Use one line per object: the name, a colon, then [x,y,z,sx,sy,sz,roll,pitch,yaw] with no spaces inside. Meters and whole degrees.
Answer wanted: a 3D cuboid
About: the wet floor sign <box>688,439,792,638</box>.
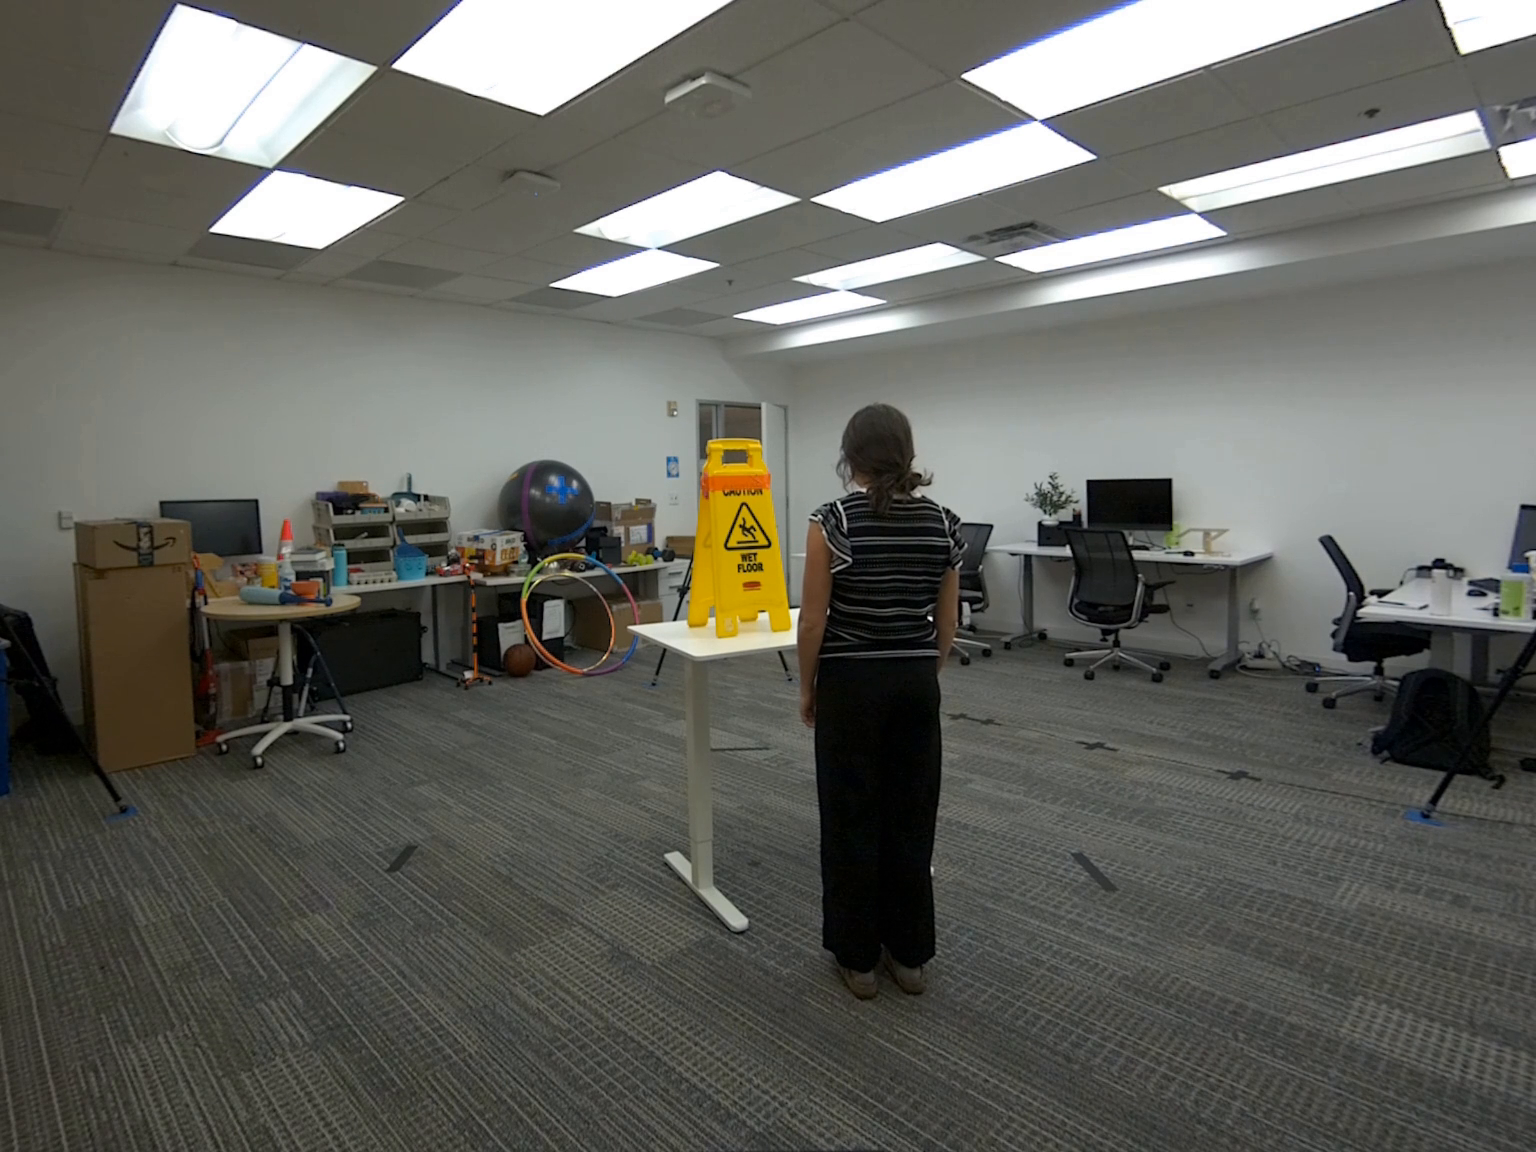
wet floor sign: [-0.109,-0.141,2.931,0.276,0.644,0.297,-2,4,-28]
